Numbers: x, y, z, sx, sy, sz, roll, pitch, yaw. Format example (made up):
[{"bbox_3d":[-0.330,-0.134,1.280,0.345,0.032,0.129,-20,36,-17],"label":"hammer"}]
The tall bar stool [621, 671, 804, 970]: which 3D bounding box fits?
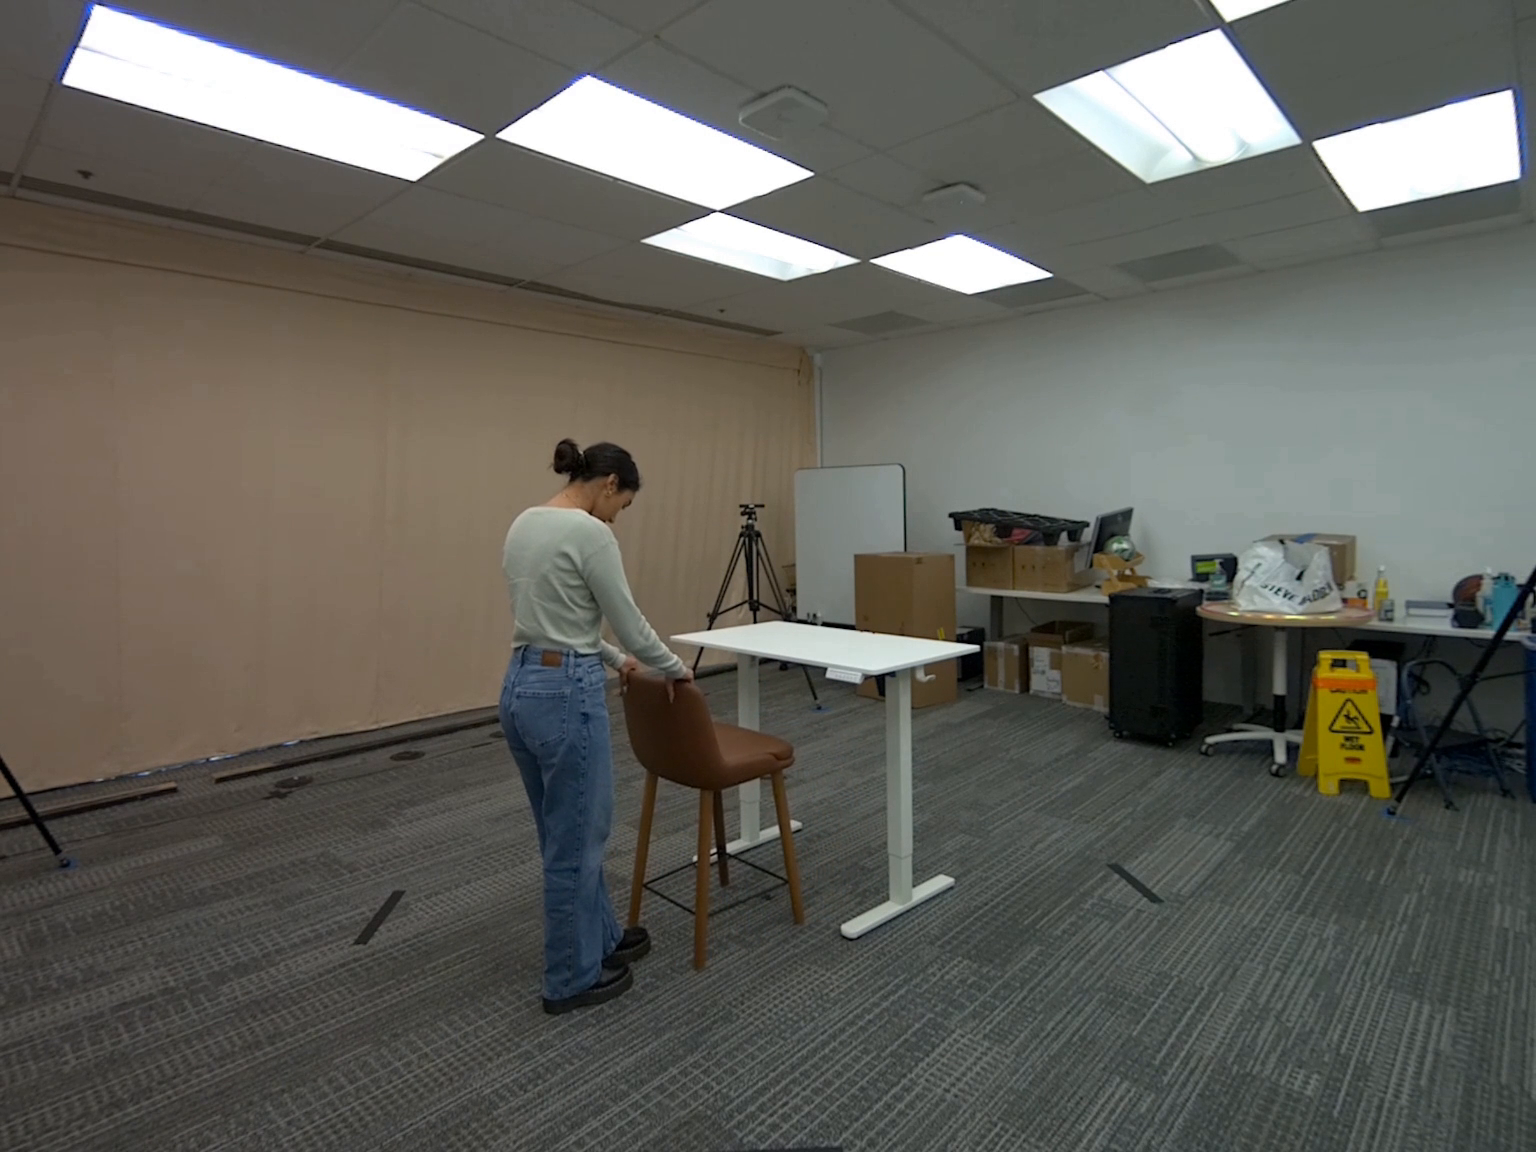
[{"bbox_3d":[-0.192,0.722,2.768,0.454,0.887,0.471,-7,6,-43],"label":"tall bar stool"}]
